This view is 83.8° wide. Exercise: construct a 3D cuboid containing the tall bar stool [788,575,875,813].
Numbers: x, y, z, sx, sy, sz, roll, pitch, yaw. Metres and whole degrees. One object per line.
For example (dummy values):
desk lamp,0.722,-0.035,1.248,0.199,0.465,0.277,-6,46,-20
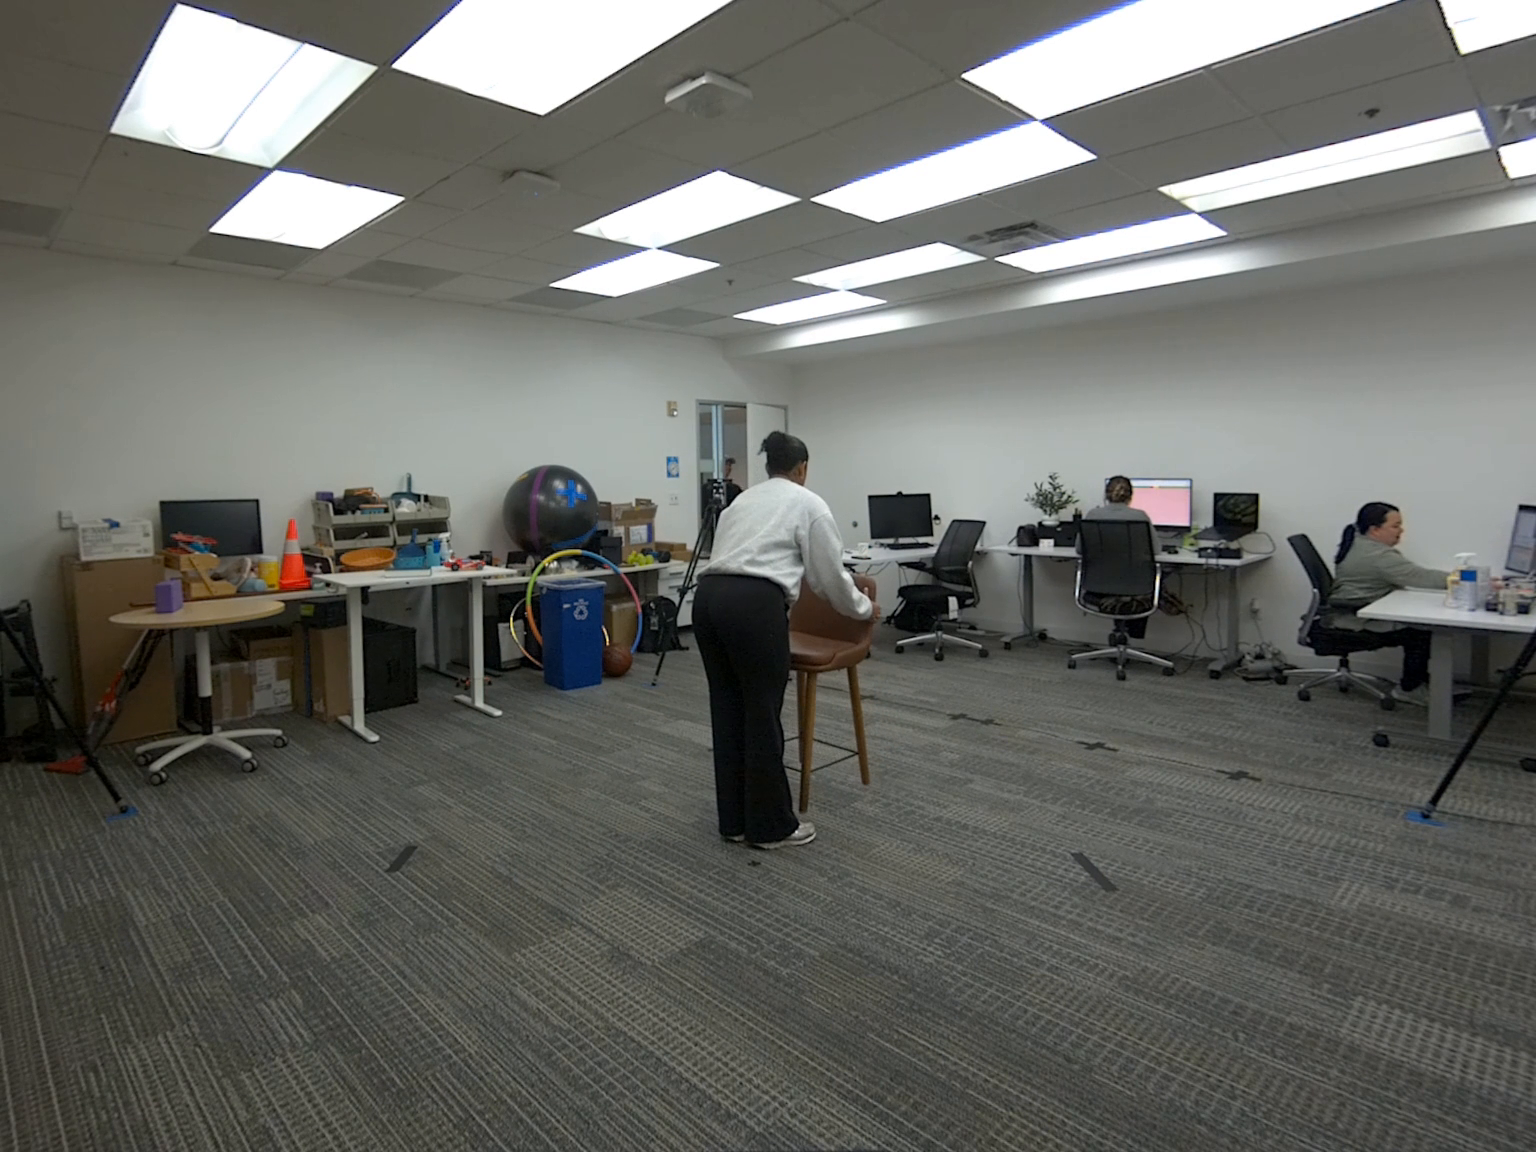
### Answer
tall bar stool,0.159,0.444,3.545,0.471,0.887,0.454,6,5,45
